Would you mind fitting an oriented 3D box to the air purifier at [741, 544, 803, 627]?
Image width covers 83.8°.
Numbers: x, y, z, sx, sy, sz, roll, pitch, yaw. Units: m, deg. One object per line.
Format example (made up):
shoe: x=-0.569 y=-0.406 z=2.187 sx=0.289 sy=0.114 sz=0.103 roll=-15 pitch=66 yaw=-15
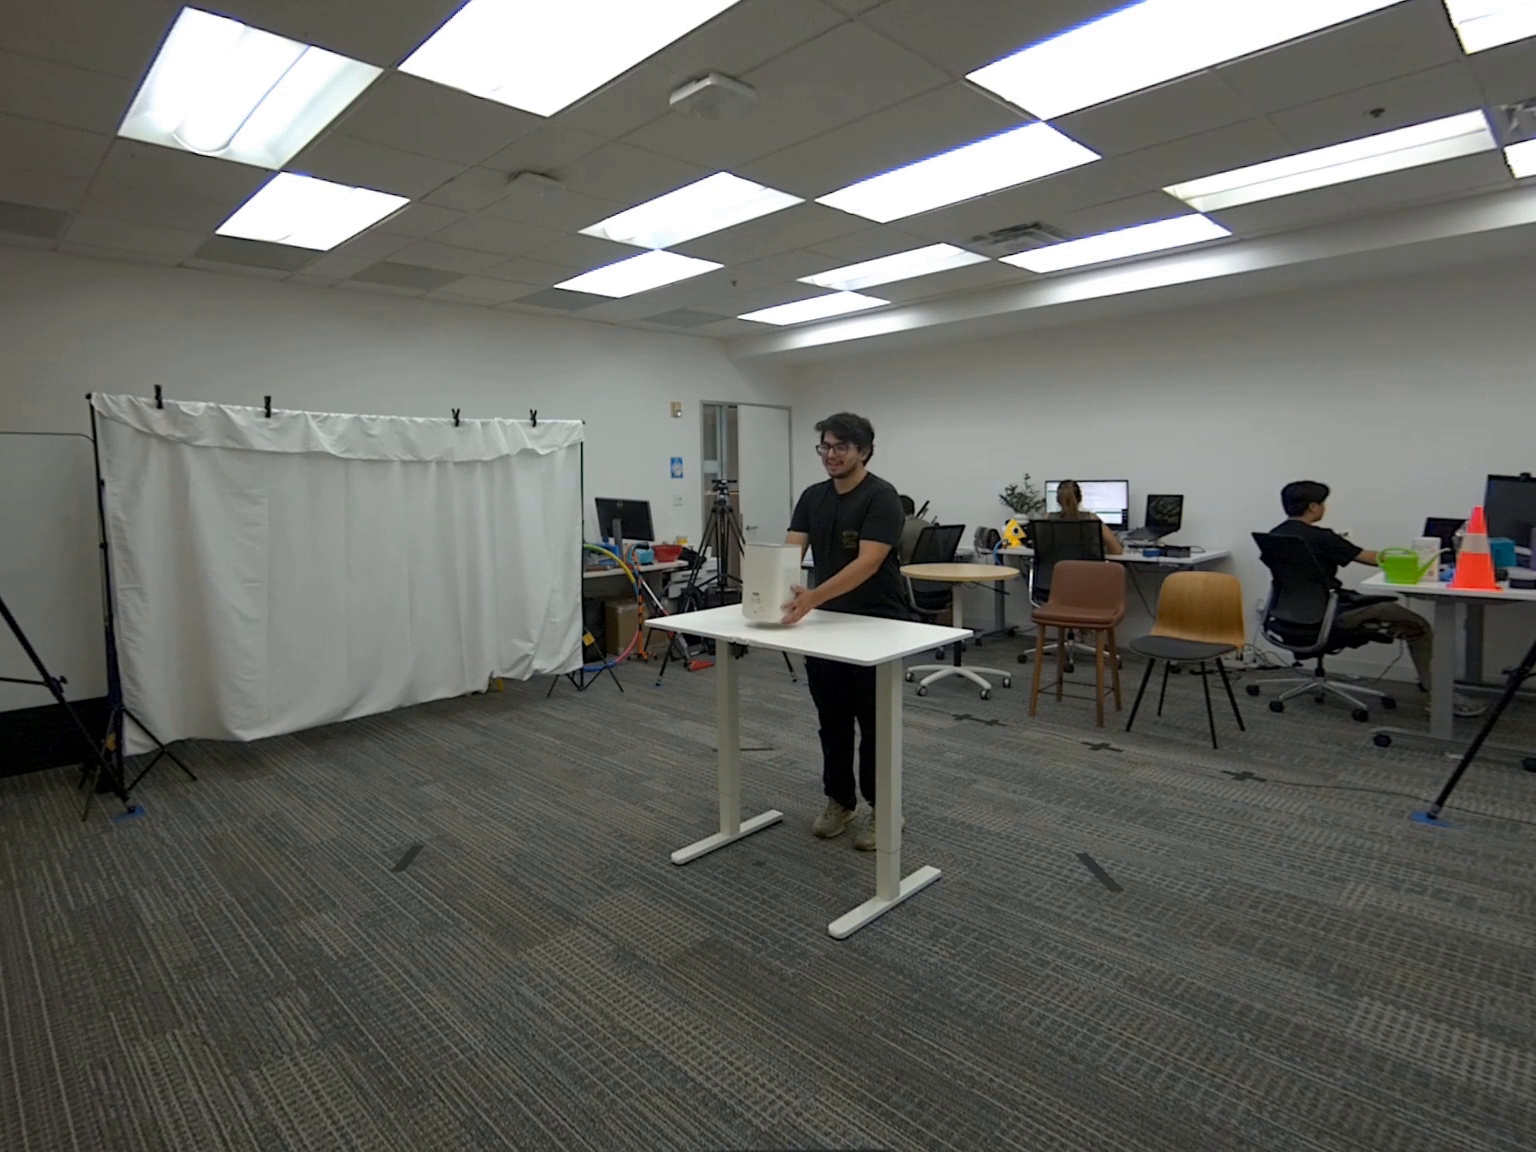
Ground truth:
air purifier: x=0.020 y=0.022 z=2.982 sx=0.176 sy=0.265 sz=0.167 roll=4 pitch=4 yaw=38
